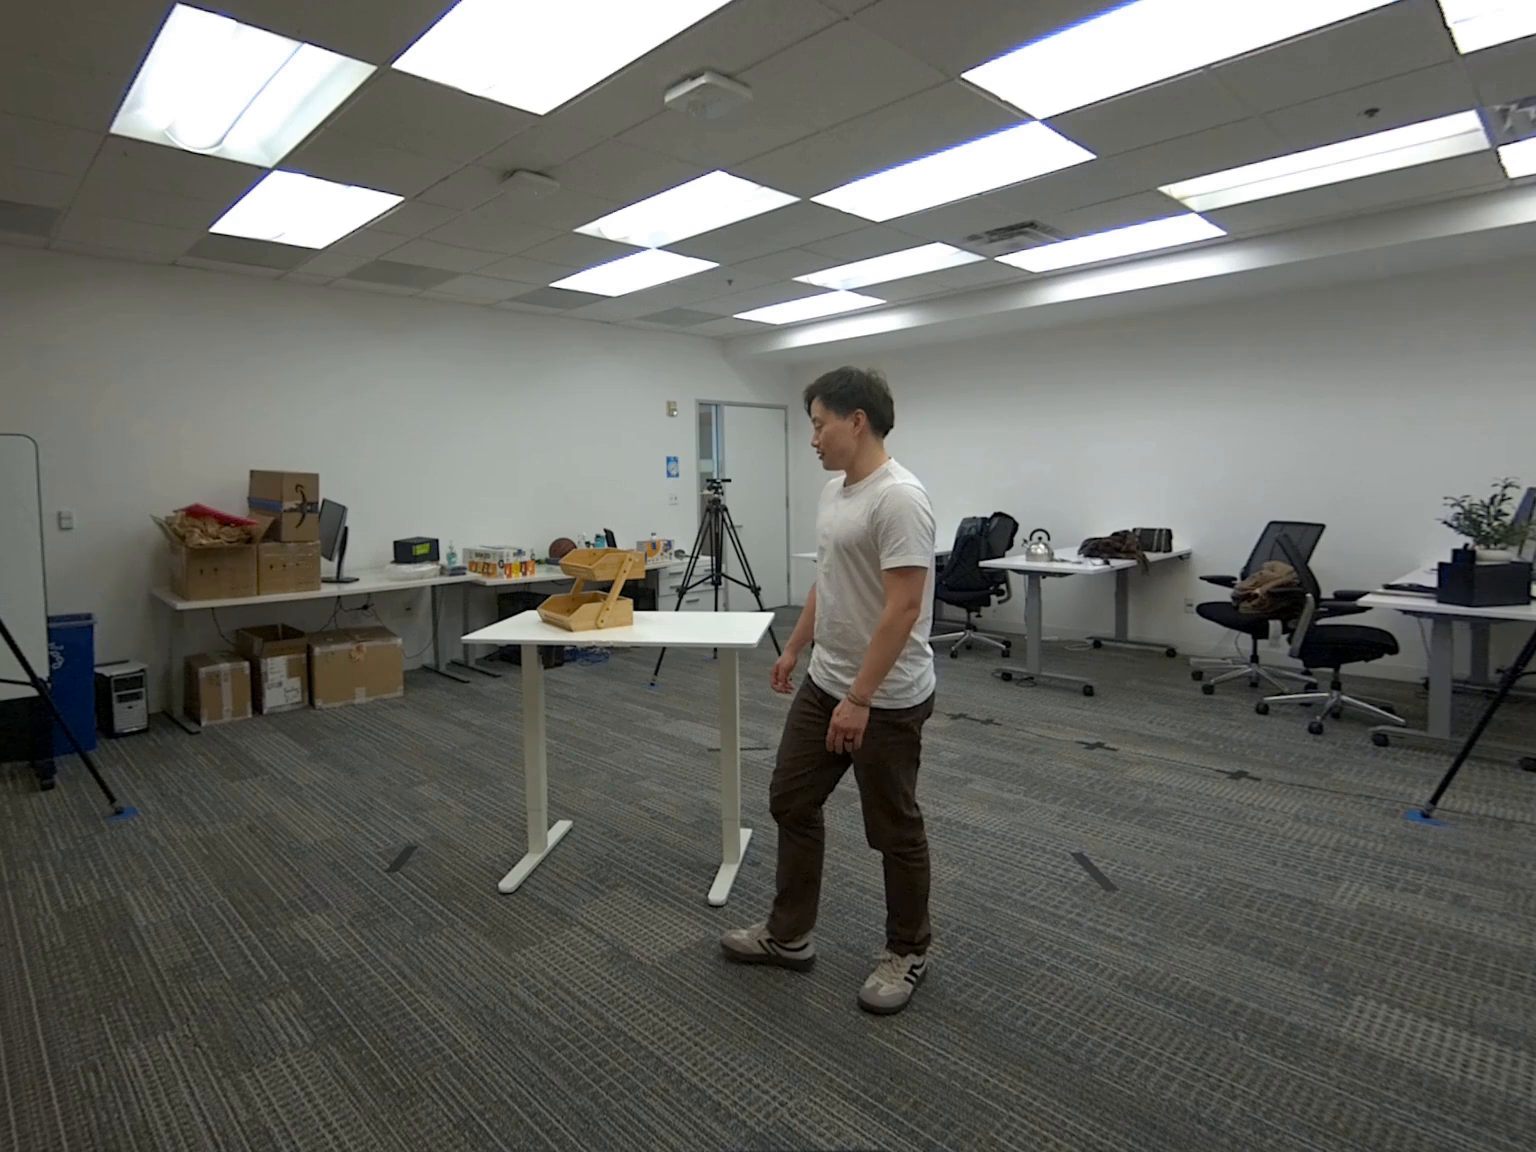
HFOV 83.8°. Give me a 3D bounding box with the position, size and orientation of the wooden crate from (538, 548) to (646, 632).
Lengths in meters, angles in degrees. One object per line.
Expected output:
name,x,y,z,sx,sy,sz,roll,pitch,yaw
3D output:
wooden crate,-0.654,0.037,3.134,0.294,0.272,0.334,-3,6,-34
